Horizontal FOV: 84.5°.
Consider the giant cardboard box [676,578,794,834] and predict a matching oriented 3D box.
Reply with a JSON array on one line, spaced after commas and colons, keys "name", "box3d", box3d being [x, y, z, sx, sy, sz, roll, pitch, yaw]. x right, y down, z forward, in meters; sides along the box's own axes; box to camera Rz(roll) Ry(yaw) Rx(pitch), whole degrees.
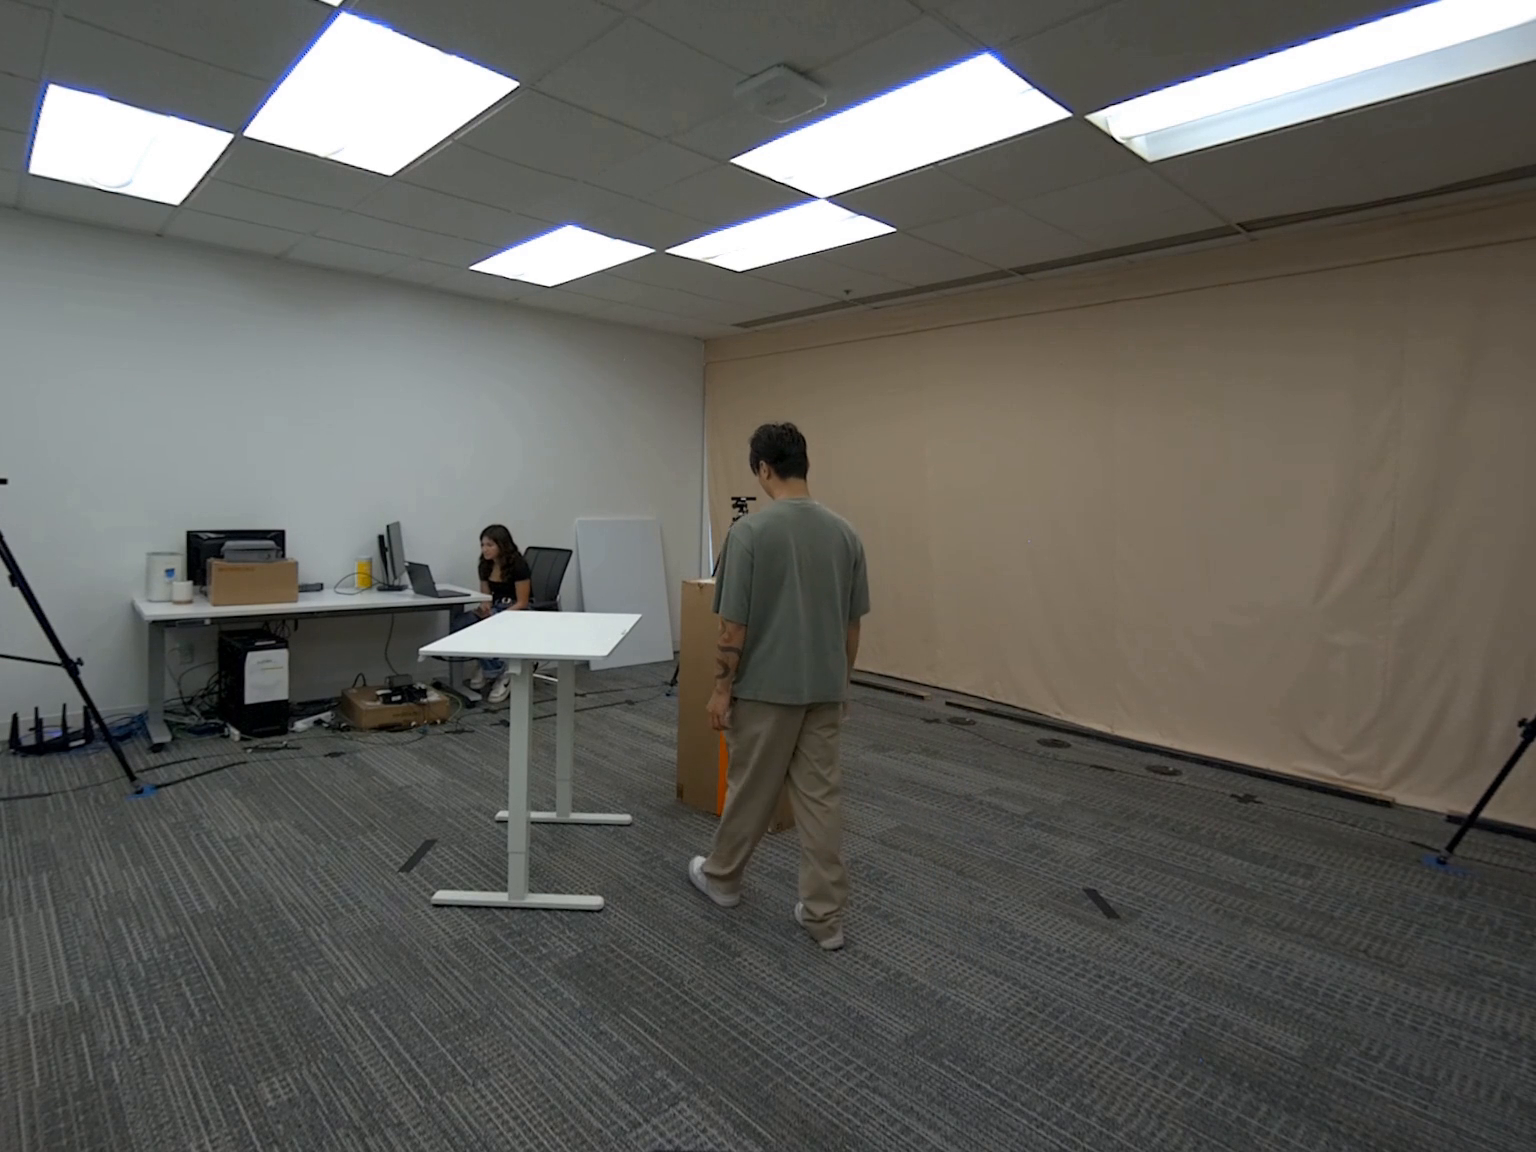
[{"name": "giant cardboard box", "box3d": [-0.062, 0.540, 3.820, 0.592, 1.023, 0.416, 5, 4, 40]}]
